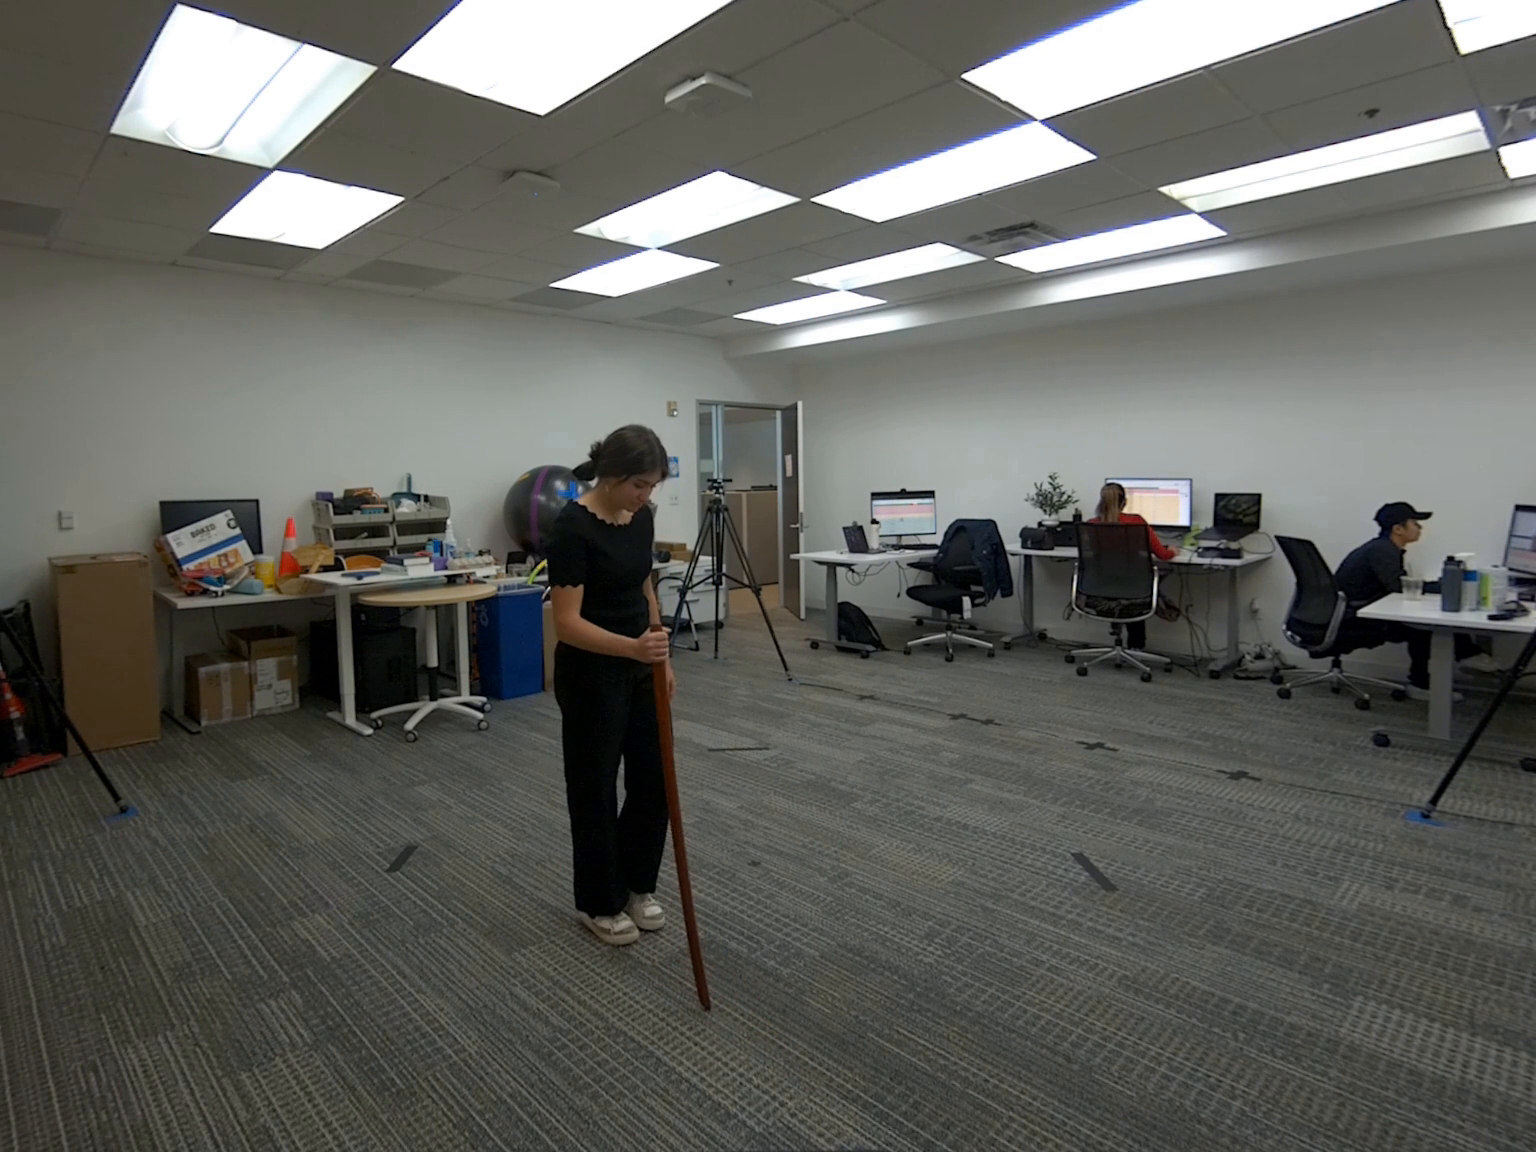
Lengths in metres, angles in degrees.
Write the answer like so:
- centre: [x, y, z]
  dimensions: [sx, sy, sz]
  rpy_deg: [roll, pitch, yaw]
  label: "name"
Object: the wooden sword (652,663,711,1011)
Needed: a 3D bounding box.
- centre: [-0.233, 0.653, 2.271]
  dimensions: [0.024, 1.025, 0.052]
  rpy_deg: [-9, 0, -14]
  label: "wooden sword"
